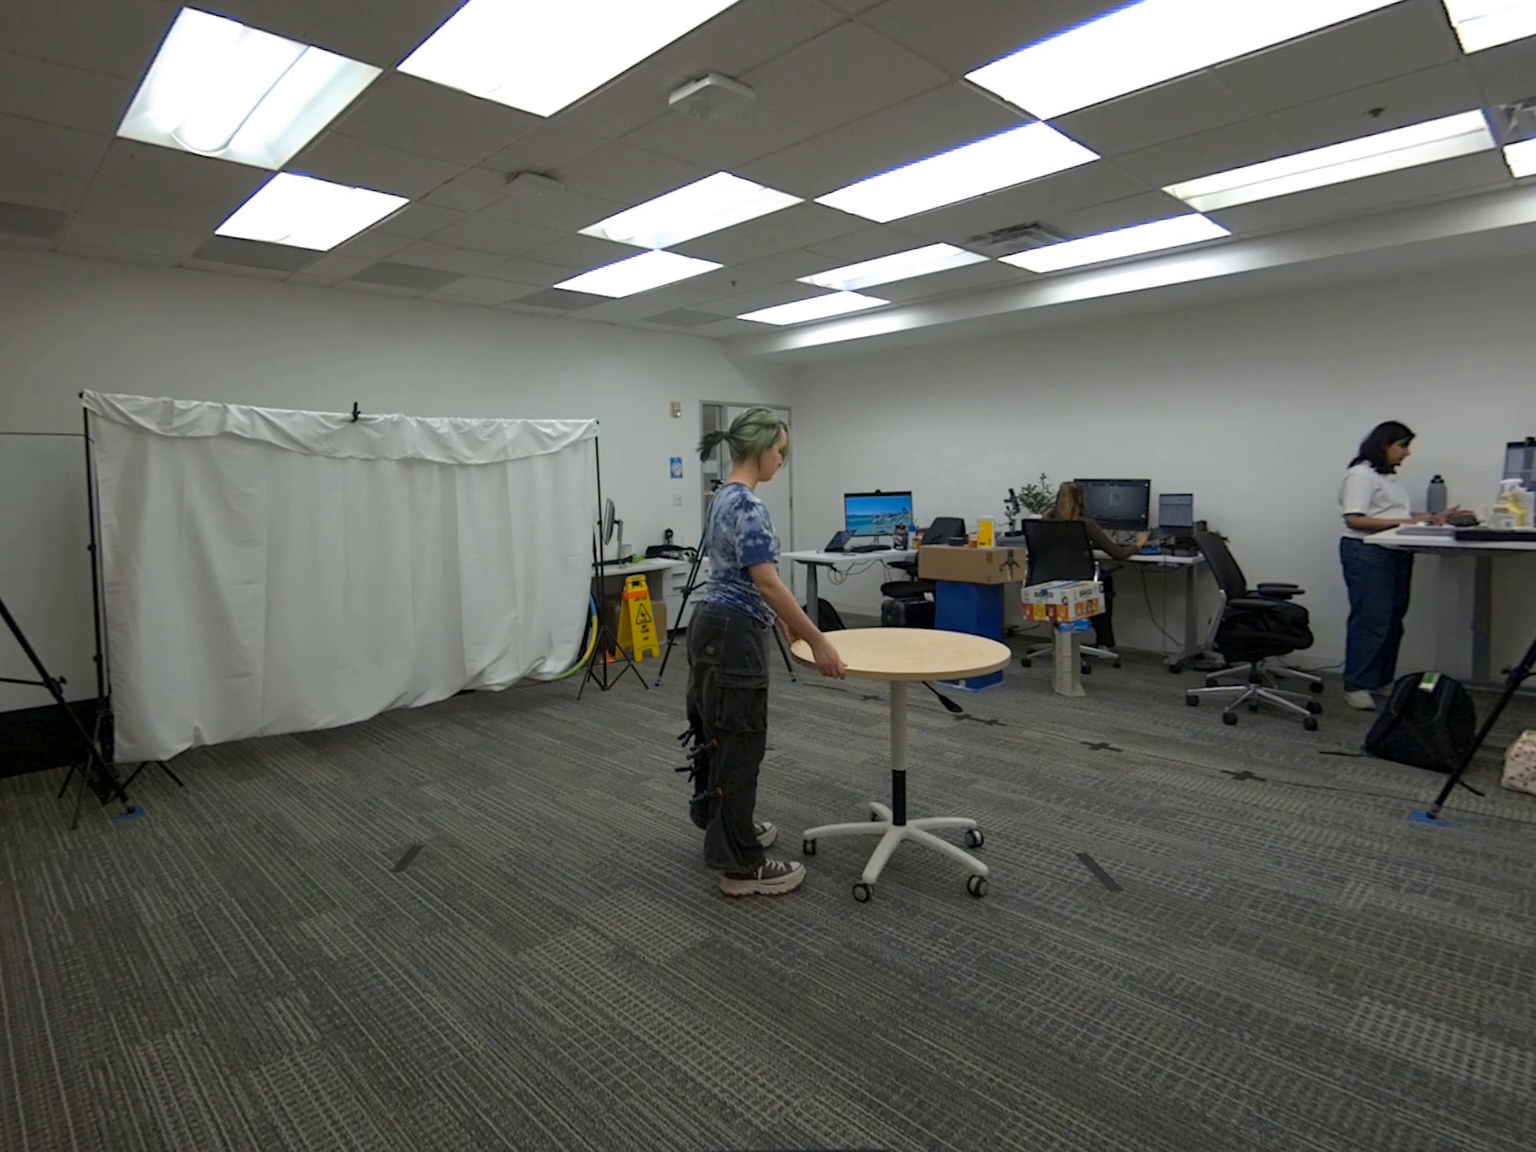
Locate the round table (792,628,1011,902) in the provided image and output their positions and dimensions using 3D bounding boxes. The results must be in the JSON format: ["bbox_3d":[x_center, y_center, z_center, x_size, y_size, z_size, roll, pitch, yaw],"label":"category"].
[{"bbox_3d":[0.477,0.649,3.077,0.763,0.790,0.768,-1,5,-2],"label":"round table"}]
